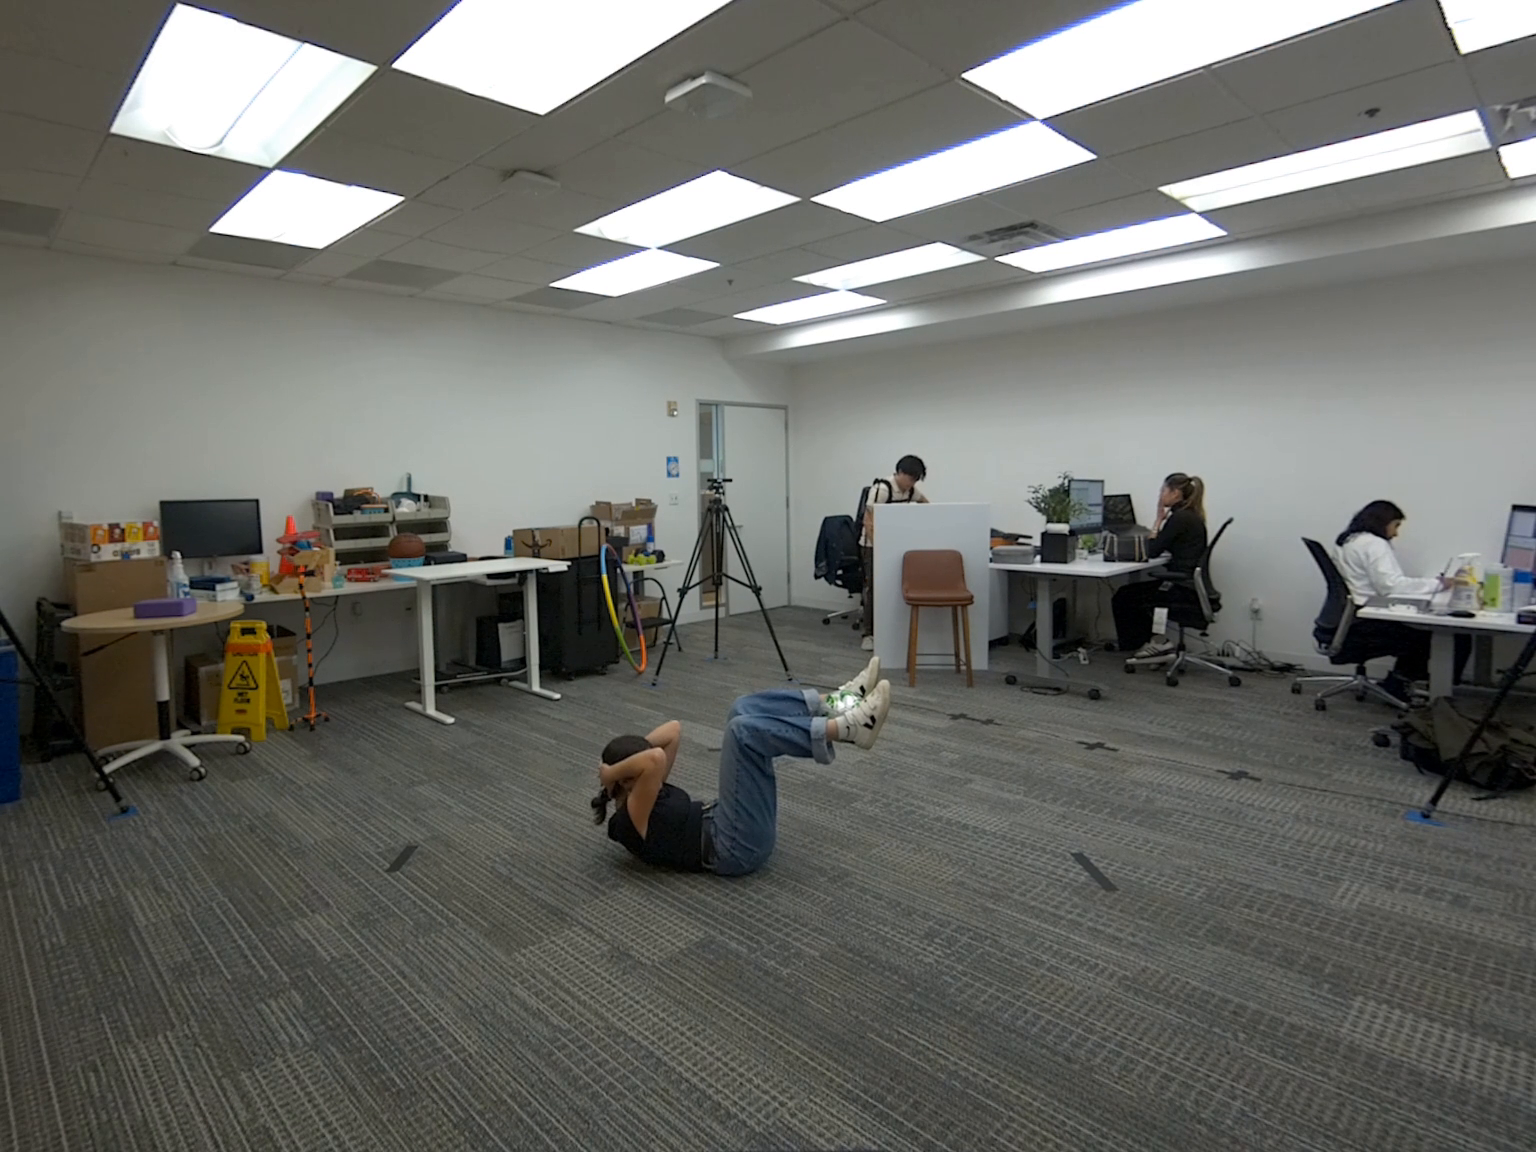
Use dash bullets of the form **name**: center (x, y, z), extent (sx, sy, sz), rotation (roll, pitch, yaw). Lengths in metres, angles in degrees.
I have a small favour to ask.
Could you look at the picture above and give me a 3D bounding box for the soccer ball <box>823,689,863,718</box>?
- **soccer ball**: center (0.285, 0.510, 3.078), extent (0.187, 0.187, 0.188), rotation (0, 1, -2)
